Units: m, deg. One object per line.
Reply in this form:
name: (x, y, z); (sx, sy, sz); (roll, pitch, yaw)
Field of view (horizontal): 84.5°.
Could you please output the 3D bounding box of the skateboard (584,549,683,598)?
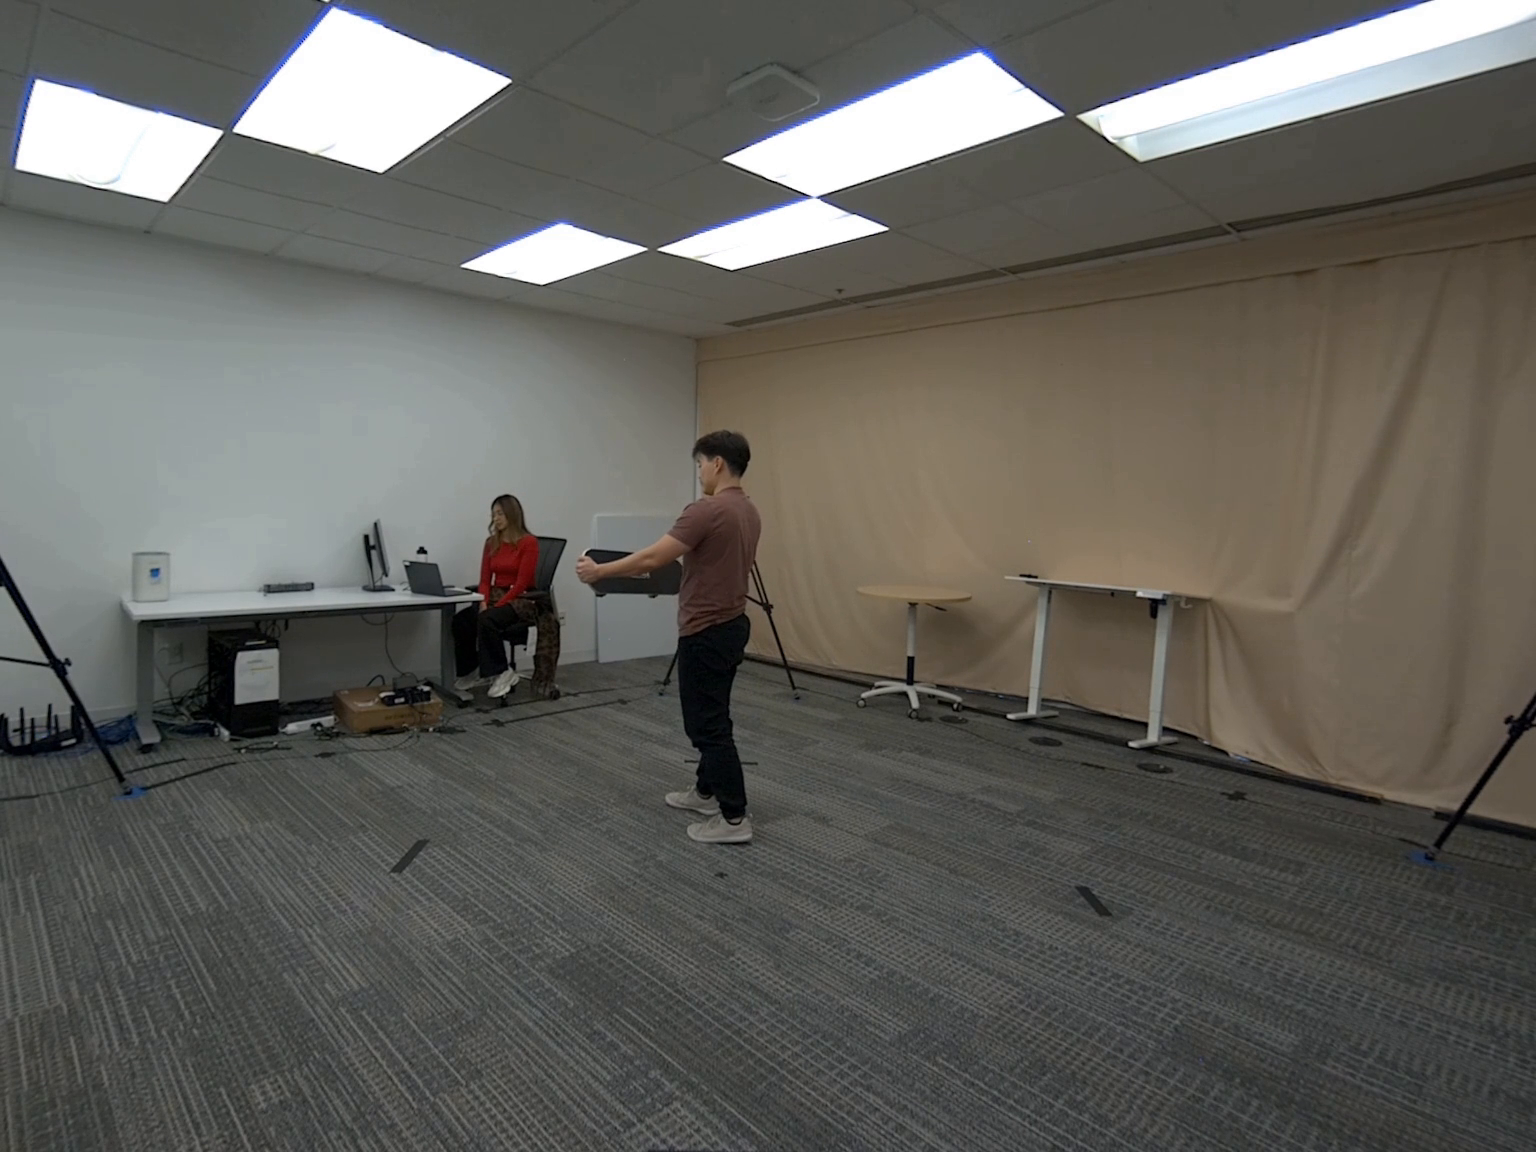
skateboard: (-0.617, -0.002, 3.736); (0.112, 0.195, 0.768); (-16, -10, 26)
